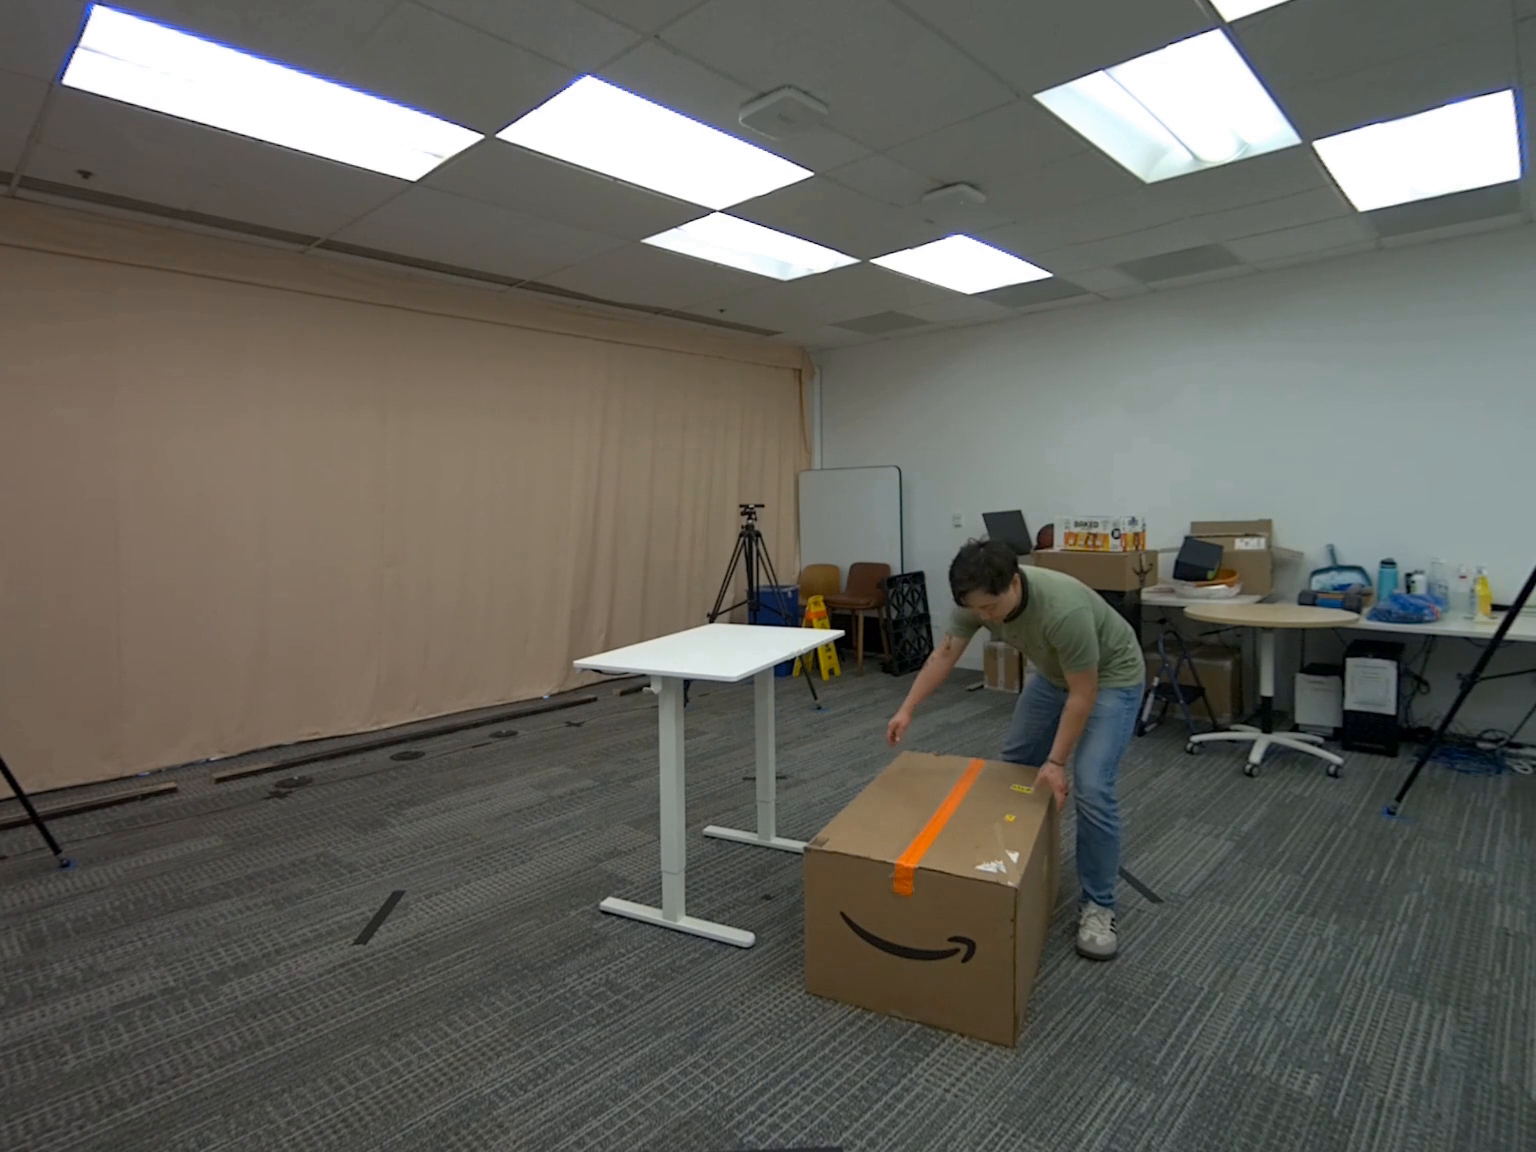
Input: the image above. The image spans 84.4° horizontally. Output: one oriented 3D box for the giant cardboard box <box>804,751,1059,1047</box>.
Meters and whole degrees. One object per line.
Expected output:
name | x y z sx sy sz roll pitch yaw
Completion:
giant cardboard box | 0.573 0.939 2.700 0.593 0.425 1.002 2 5 25
